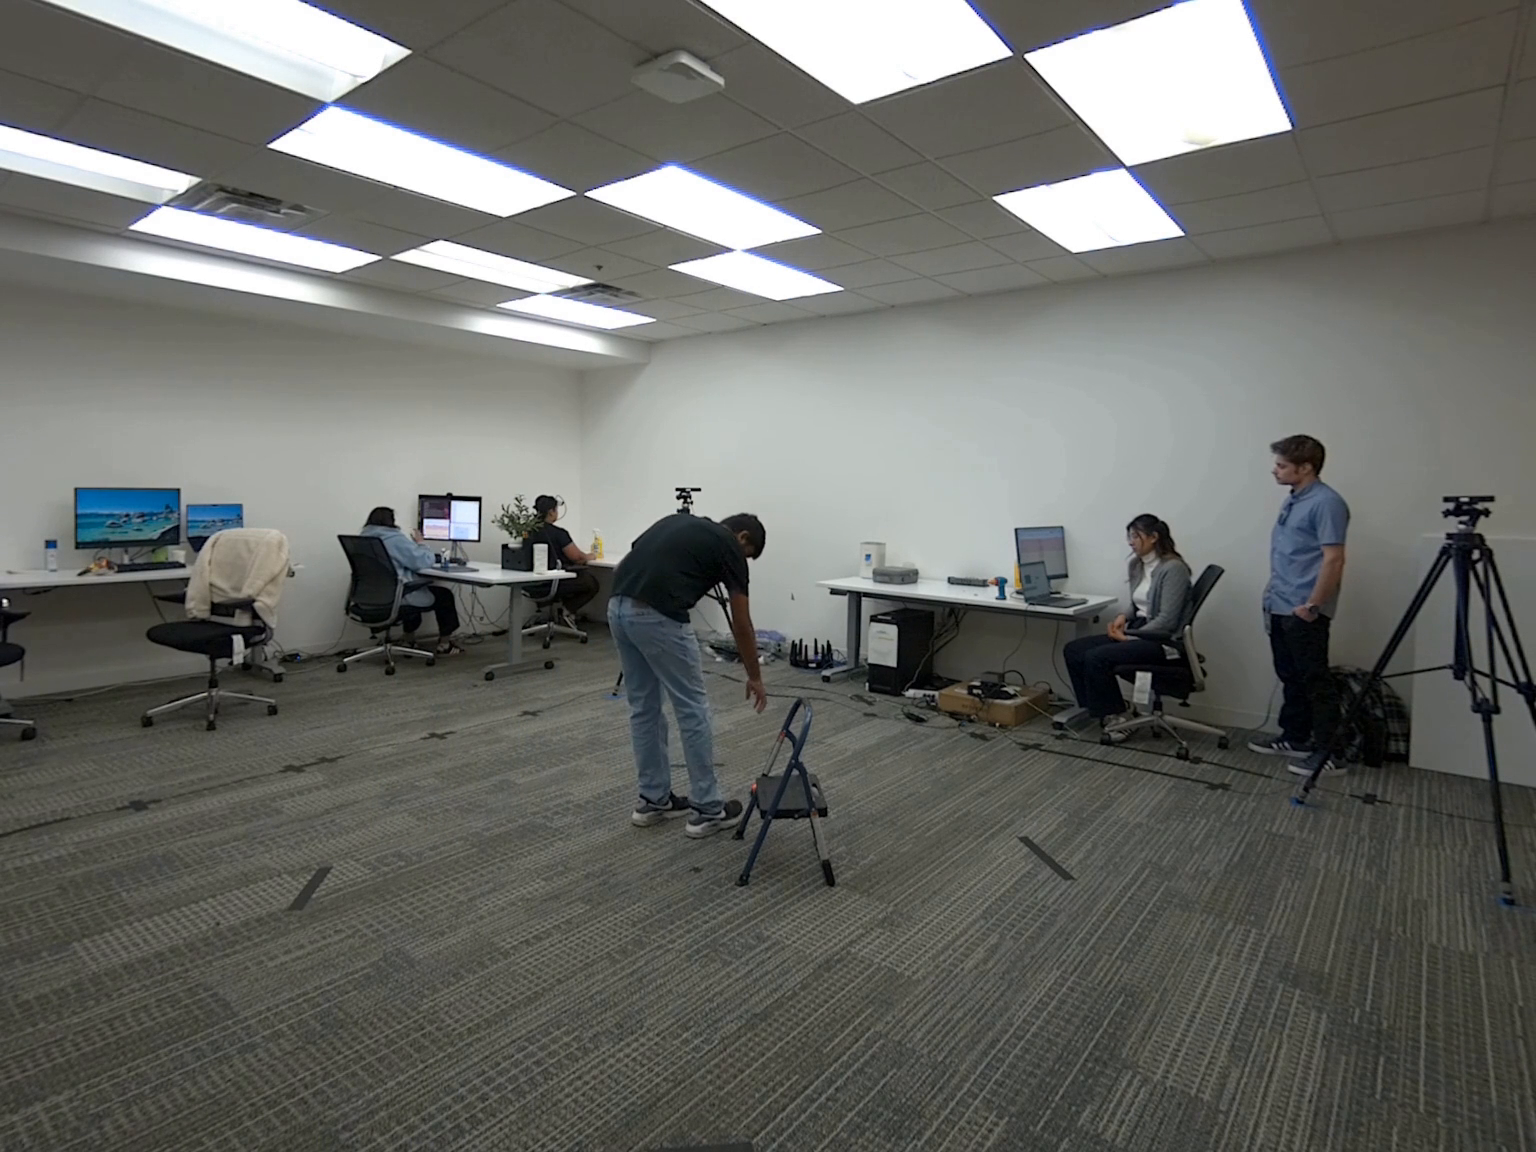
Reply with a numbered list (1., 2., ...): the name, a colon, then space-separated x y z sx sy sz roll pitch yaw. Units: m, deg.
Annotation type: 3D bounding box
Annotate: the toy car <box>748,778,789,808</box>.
1. toy car: -0.004 0.972 3.783 0.129 0.084 0.255 1 -6 -10
